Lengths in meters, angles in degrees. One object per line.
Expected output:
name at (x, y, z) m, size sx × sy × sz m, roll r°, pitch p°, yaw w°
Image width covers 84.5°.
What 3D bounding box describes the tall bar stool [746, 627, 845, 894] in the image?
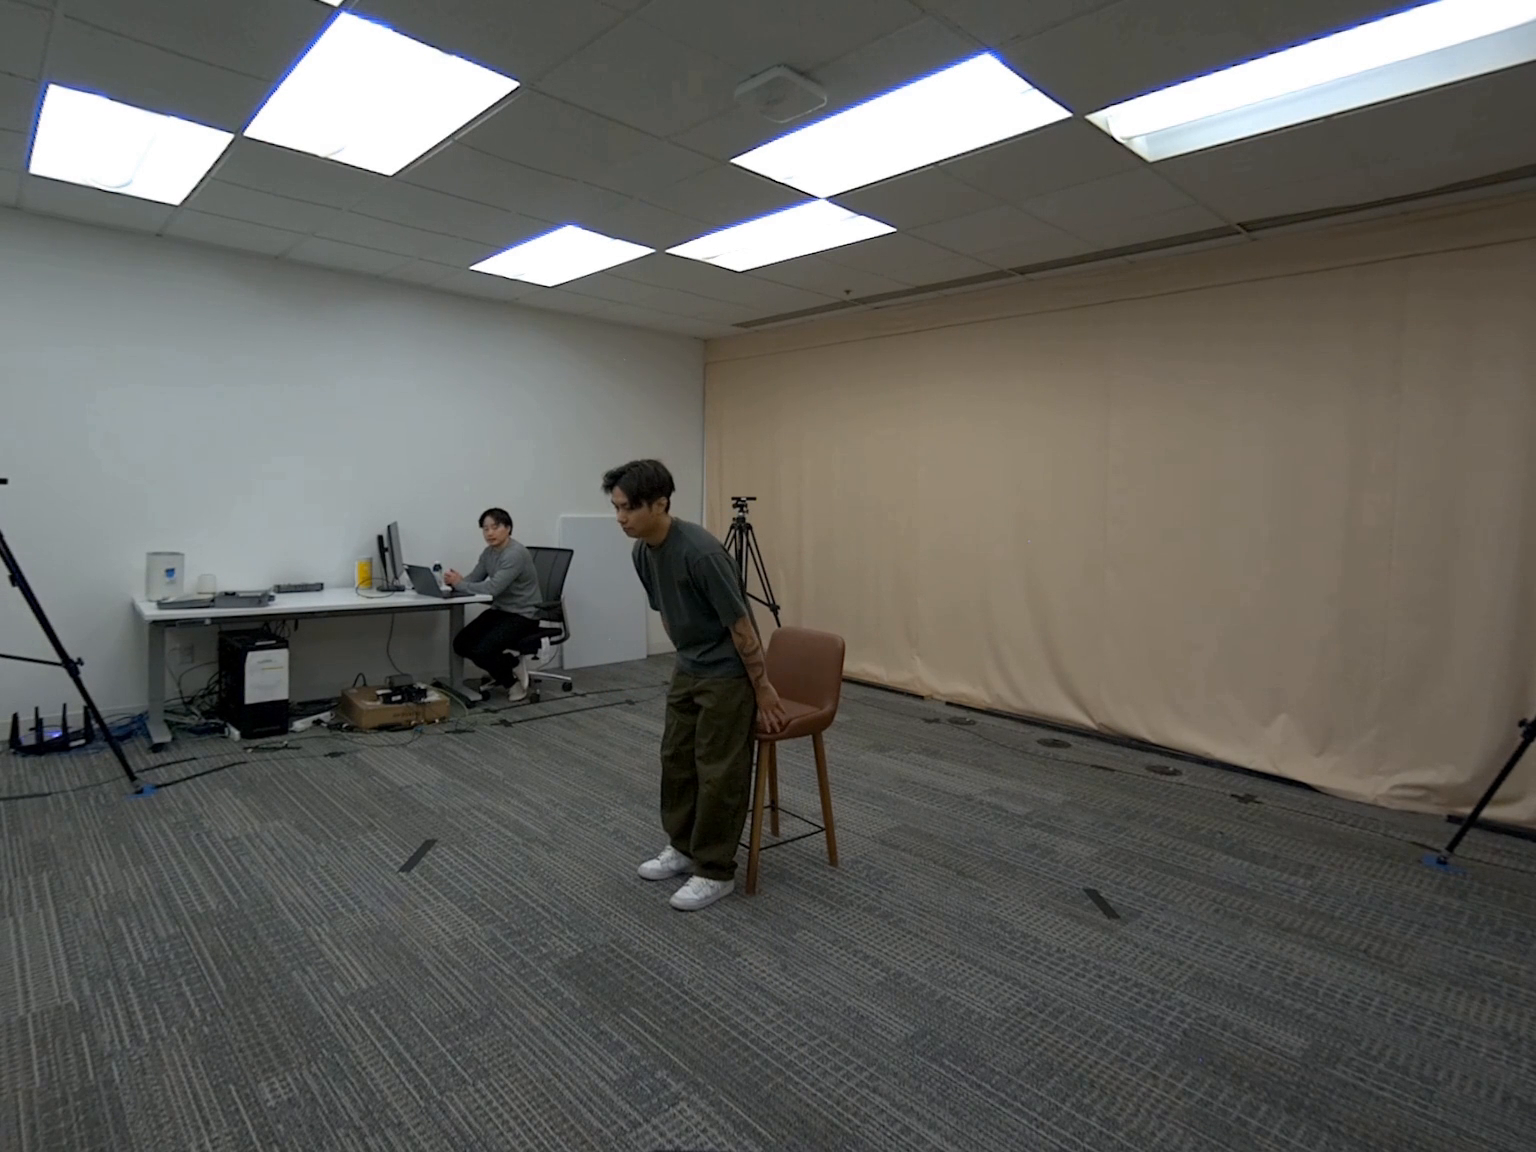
tall bar stool at (-0.013, 0.660, 3.219) m, size 0.456 × 0.889 × 0.468 m, roll 1°, pitch 2°, yaw -39°
